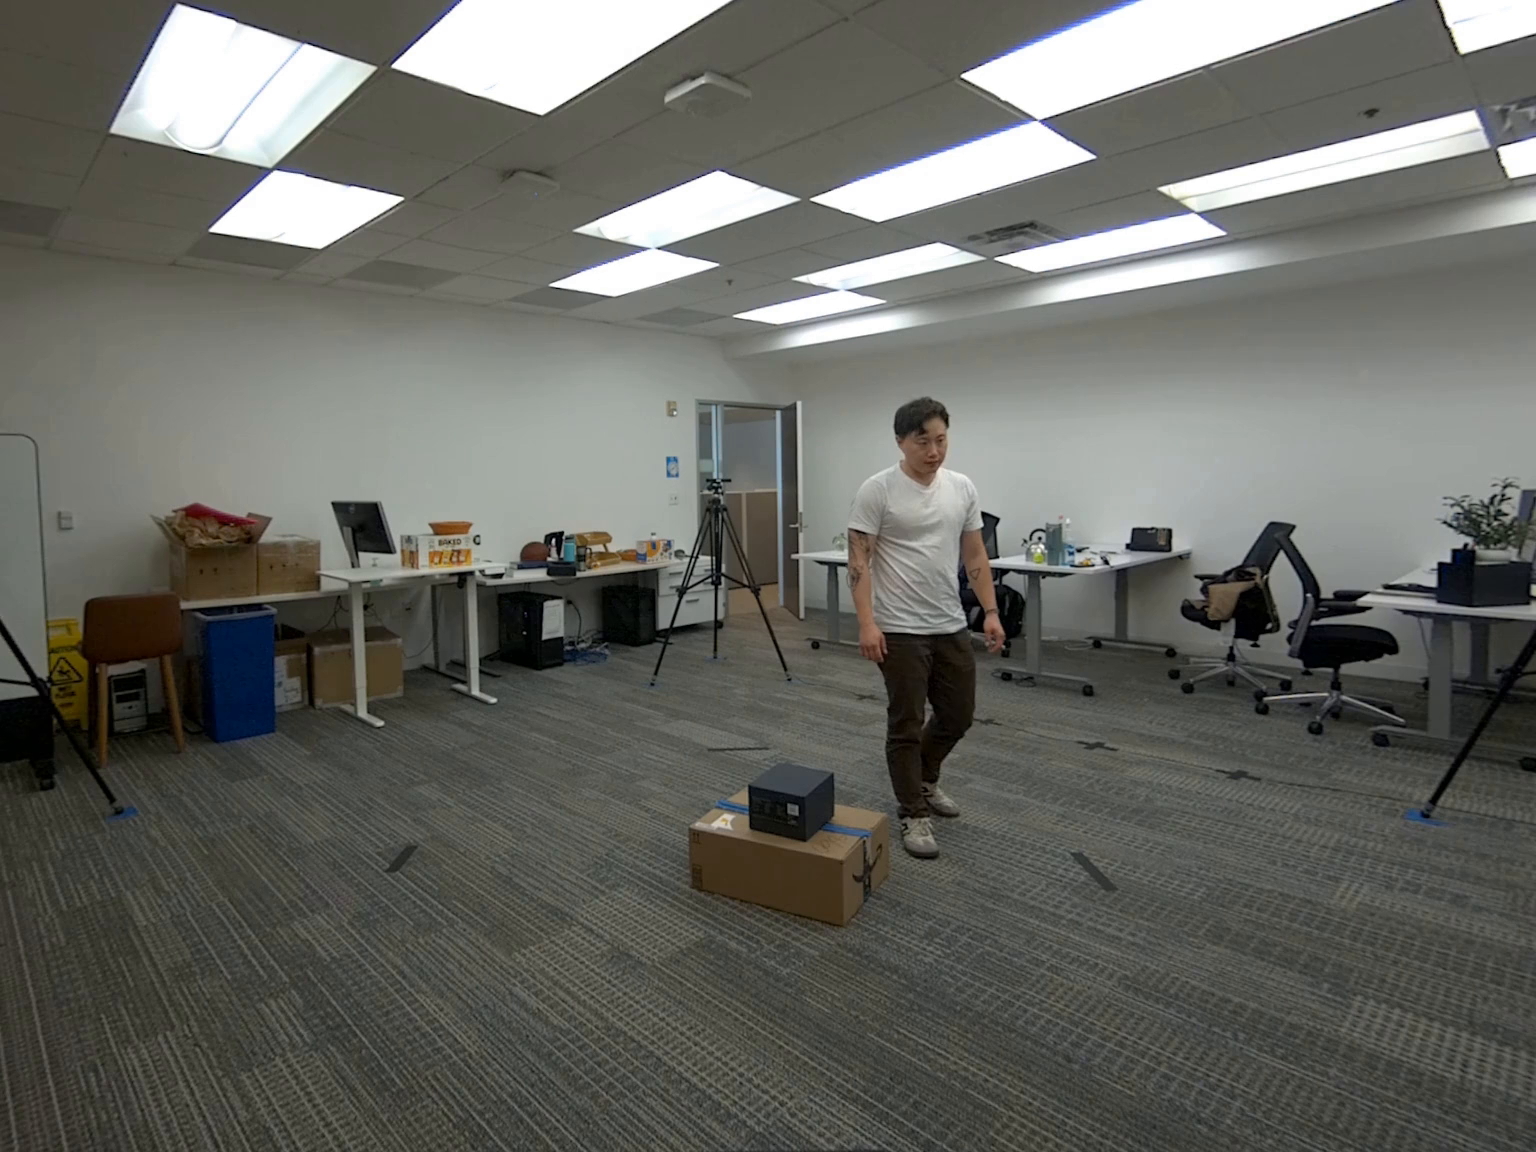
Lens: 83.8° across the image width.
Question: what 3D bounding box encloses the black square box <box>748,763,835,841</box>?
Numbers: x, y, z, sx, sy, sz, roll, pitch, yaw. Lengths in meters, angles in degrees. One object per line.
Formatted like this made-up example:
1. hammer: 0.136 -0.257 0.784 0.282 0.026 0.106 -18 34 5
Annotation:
1. black square box: 0.085 0.762 2.914 0.223 0.155 0.223 2 9 30
